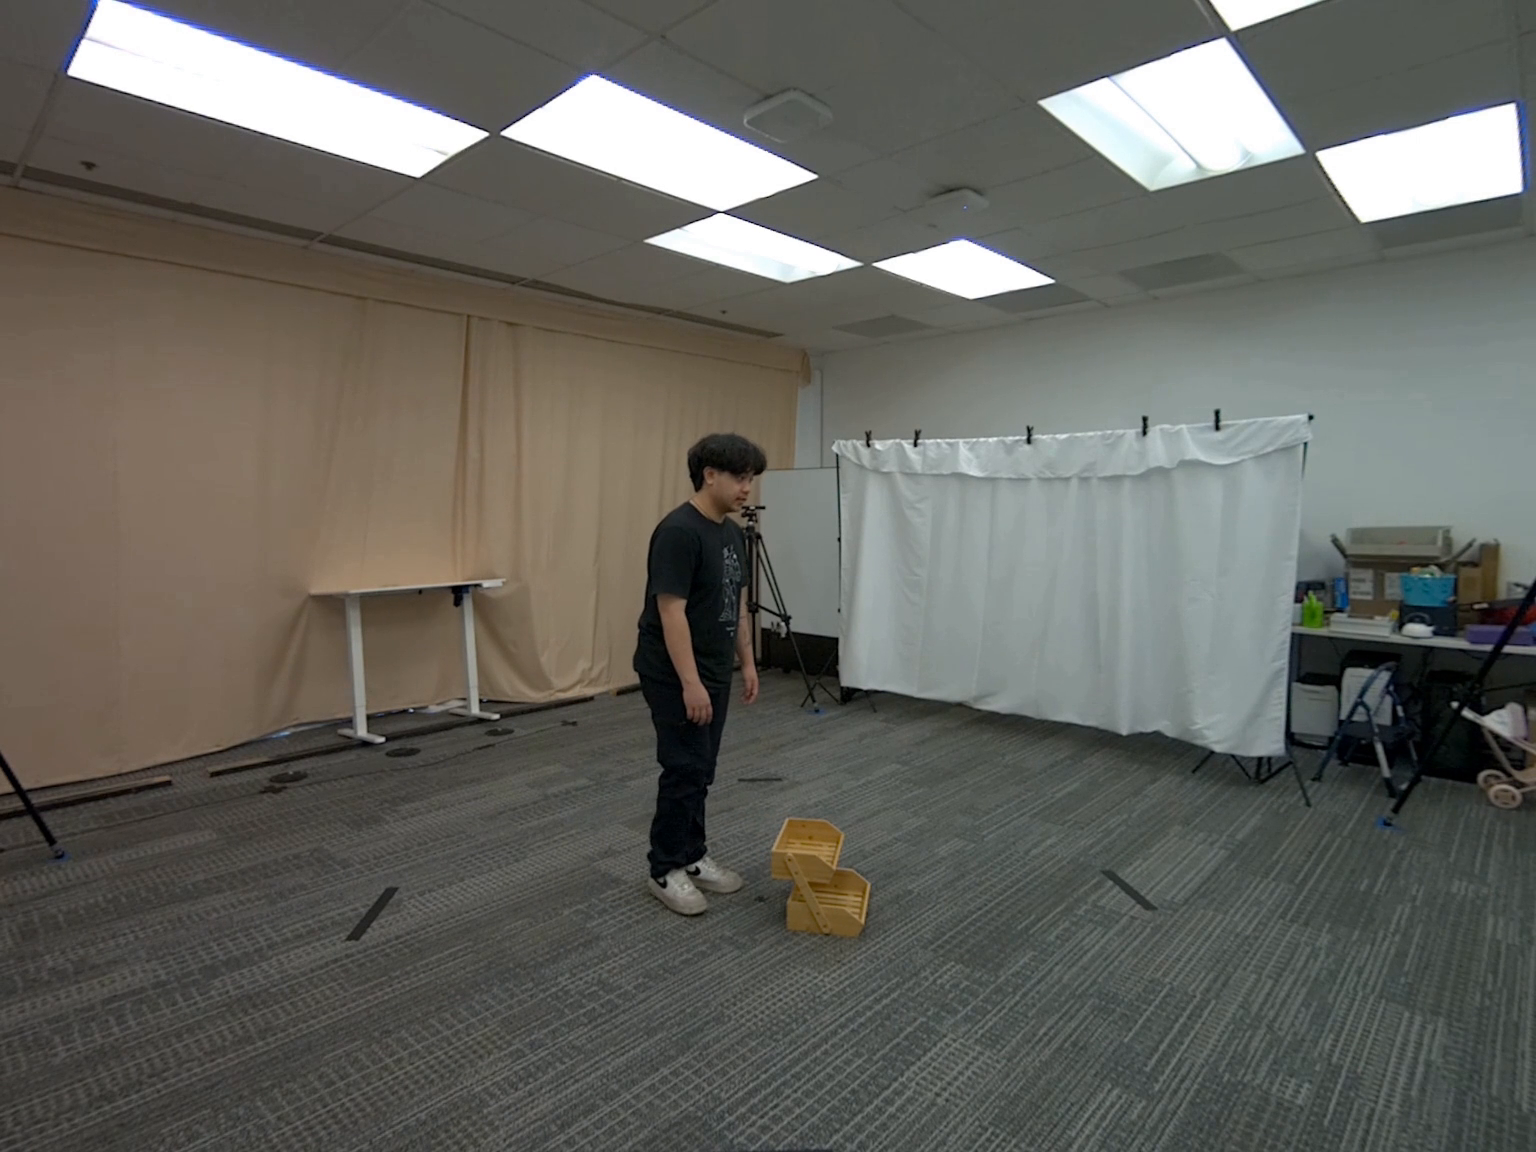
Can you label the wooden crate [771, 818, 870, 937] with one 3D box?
[{"bbox_3d":[0.194,1.022,2.880,0.306,0.273,0.321,1,4,12],"label":"wooden crate"}]
